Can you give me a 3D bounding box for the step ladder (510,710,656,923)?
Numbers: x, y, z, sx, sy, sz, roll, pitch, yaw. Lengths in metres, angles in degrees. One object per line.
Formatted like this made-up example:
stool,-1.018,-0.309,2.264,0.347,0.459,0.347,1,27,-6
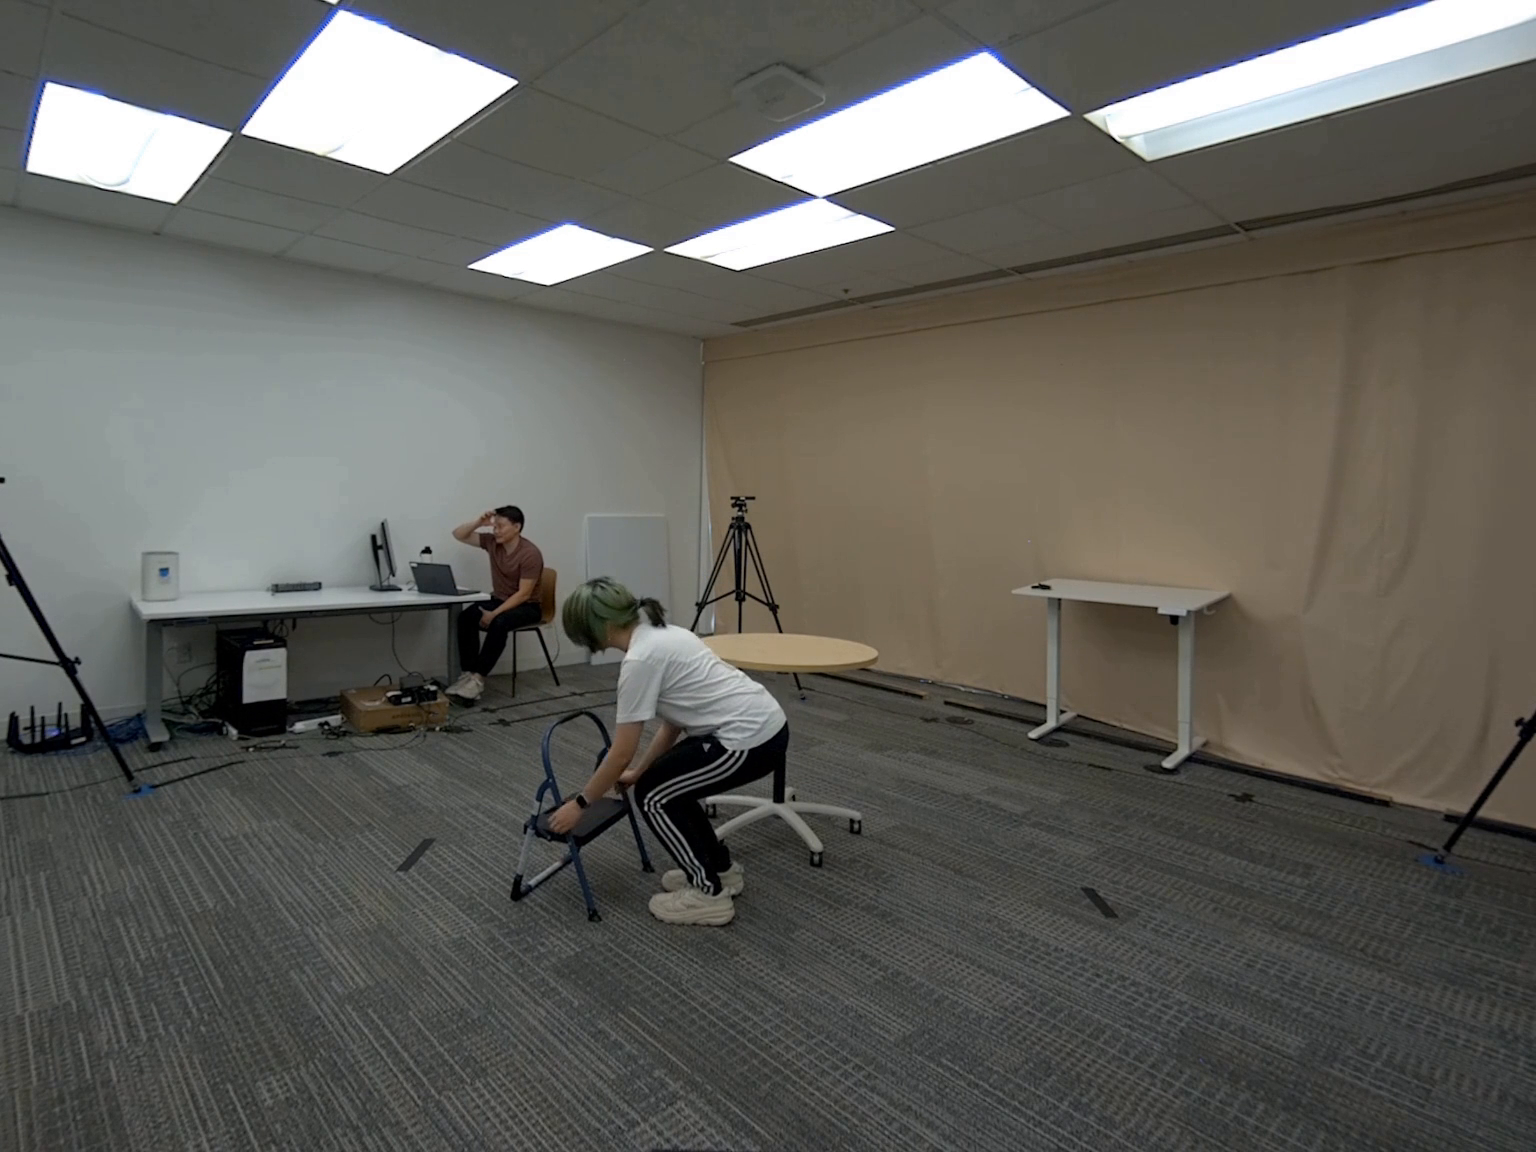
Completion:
step ladder,-0.652,0.800,2.987,0.355,0.604,0.425,3,4,19
